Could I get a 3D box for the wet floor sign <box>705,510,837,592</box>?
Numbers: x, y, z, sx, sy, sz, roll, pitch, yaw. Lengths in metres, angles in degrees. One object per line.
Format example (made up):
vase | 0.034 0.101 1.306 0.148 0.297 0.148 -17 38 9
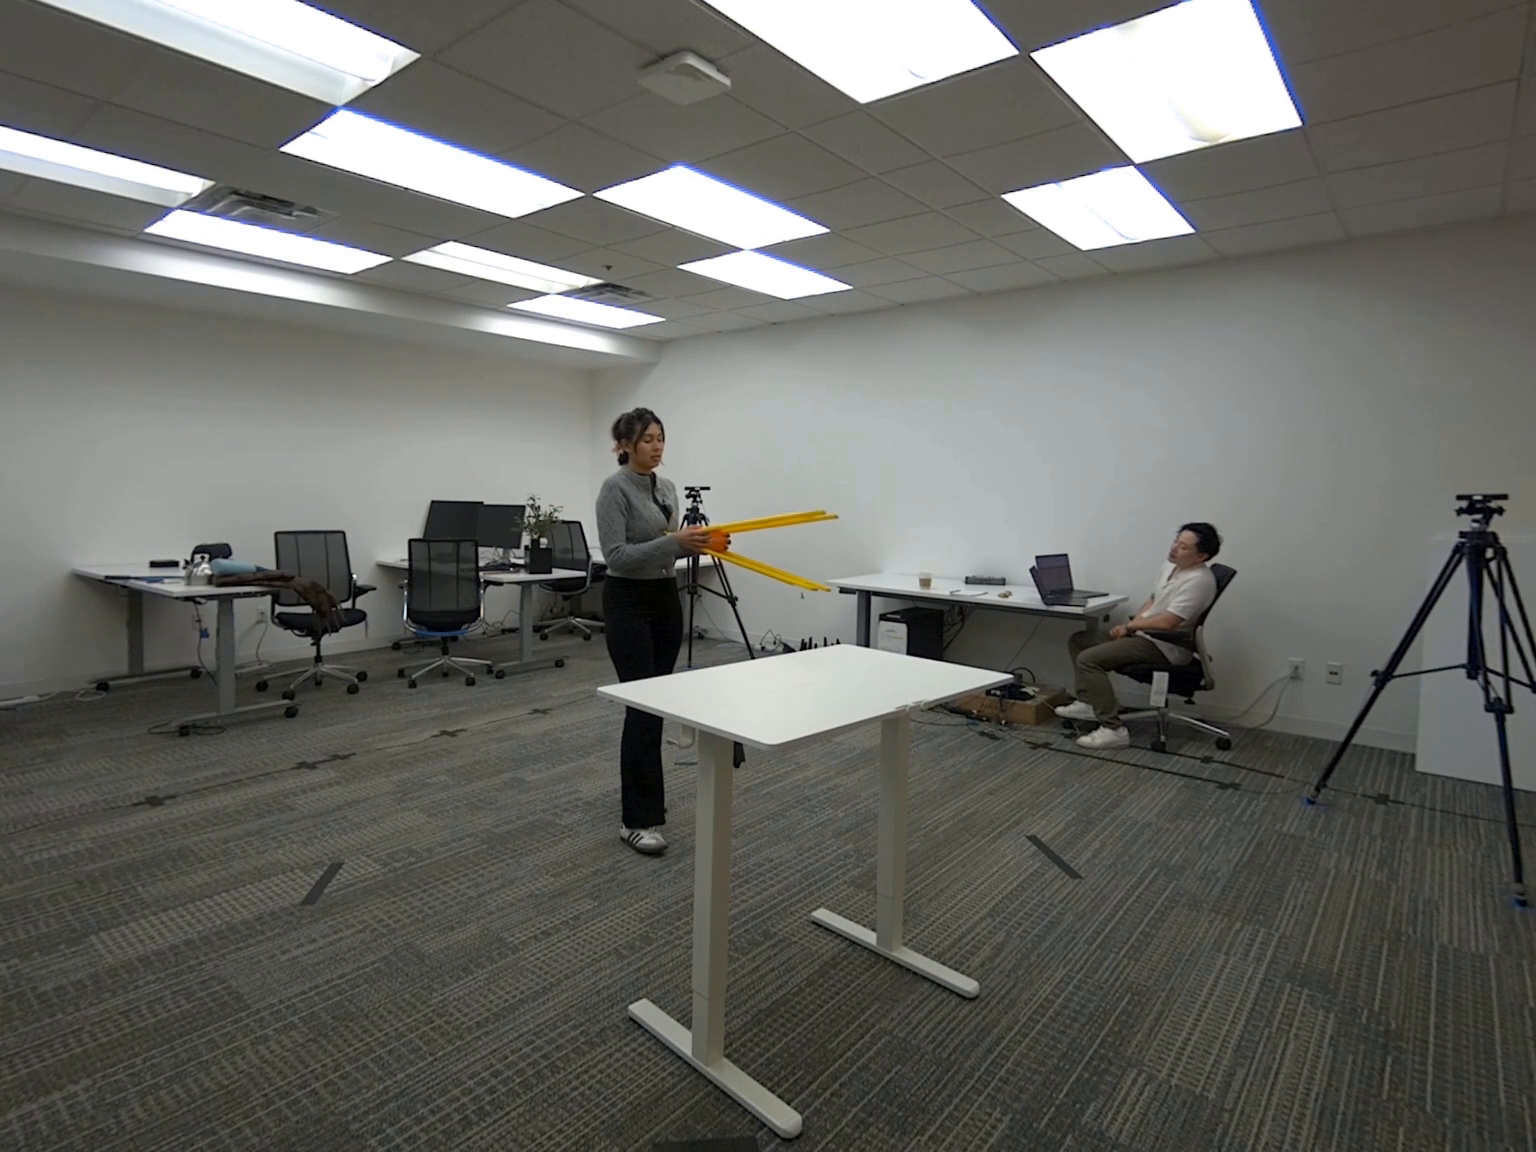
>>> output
wet floor sign | -0.082 -0.131 3.382 0.660 0.290 0.276 6 0 19
